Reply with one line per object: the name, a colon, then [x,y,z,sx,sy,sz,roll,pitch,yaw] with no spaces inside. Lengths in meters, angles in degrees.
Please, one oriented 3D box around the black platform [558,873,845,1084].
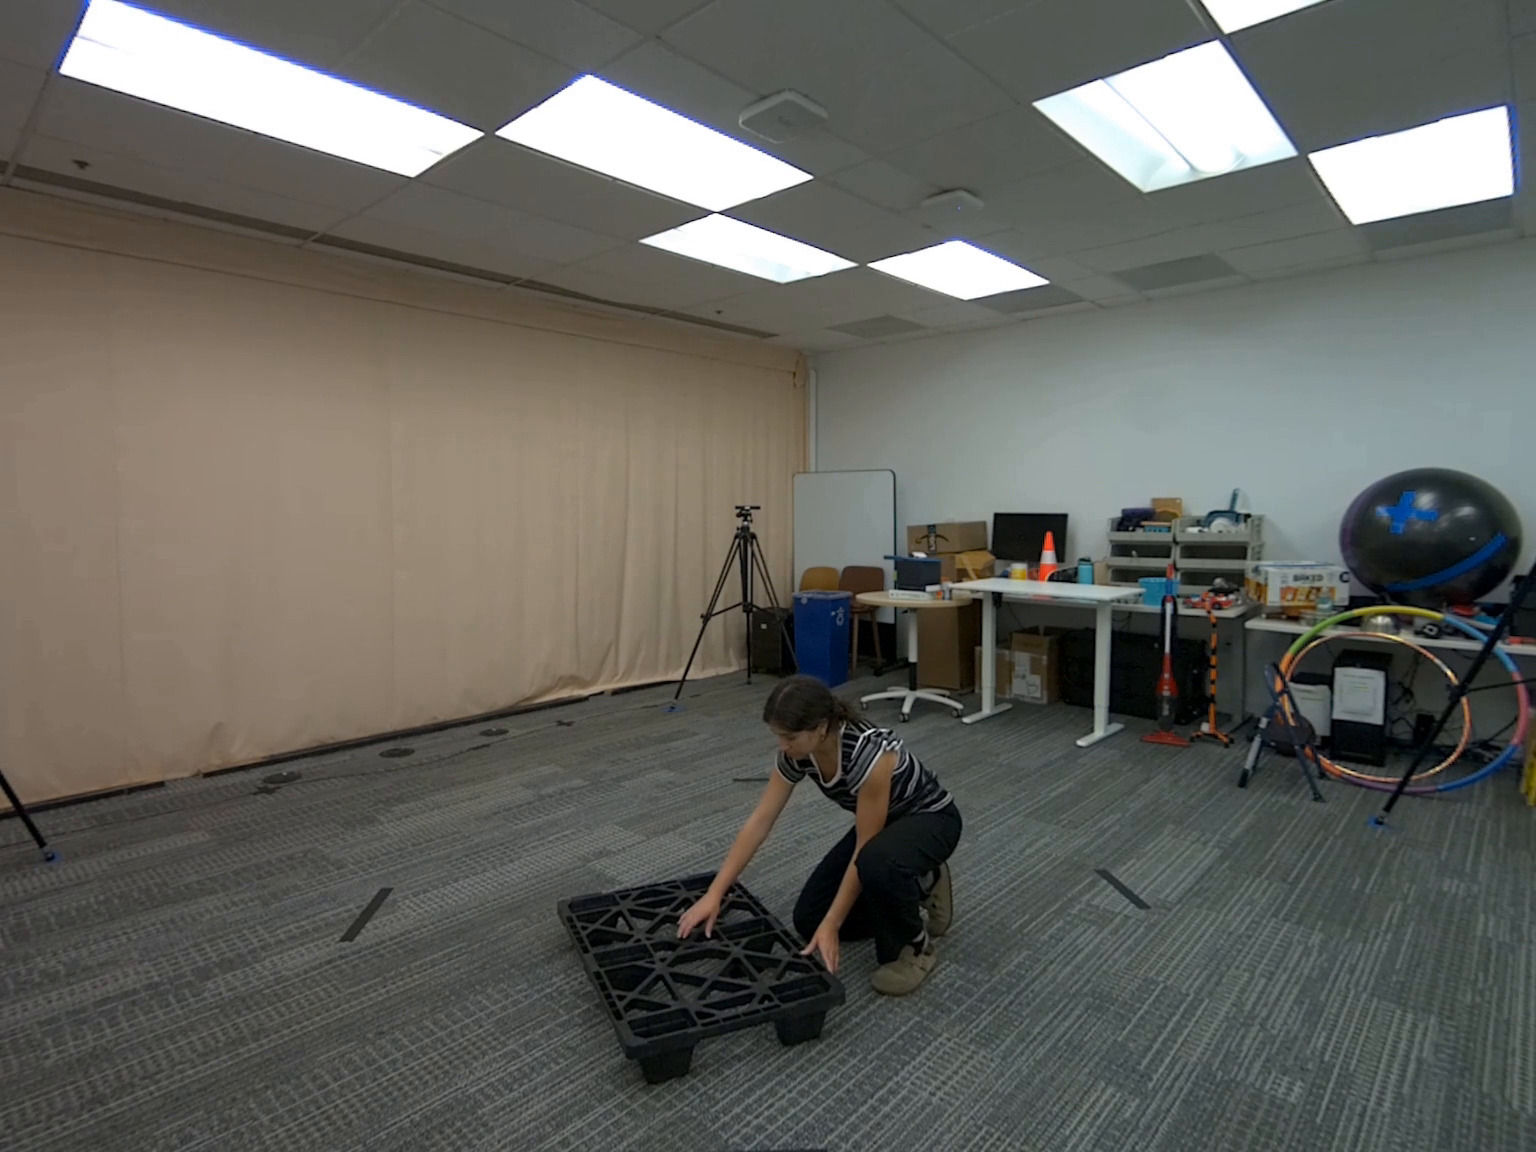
black platform: [-0.233,1.130,2.439,0.591,0.143,0.826,-3,5,-24]
